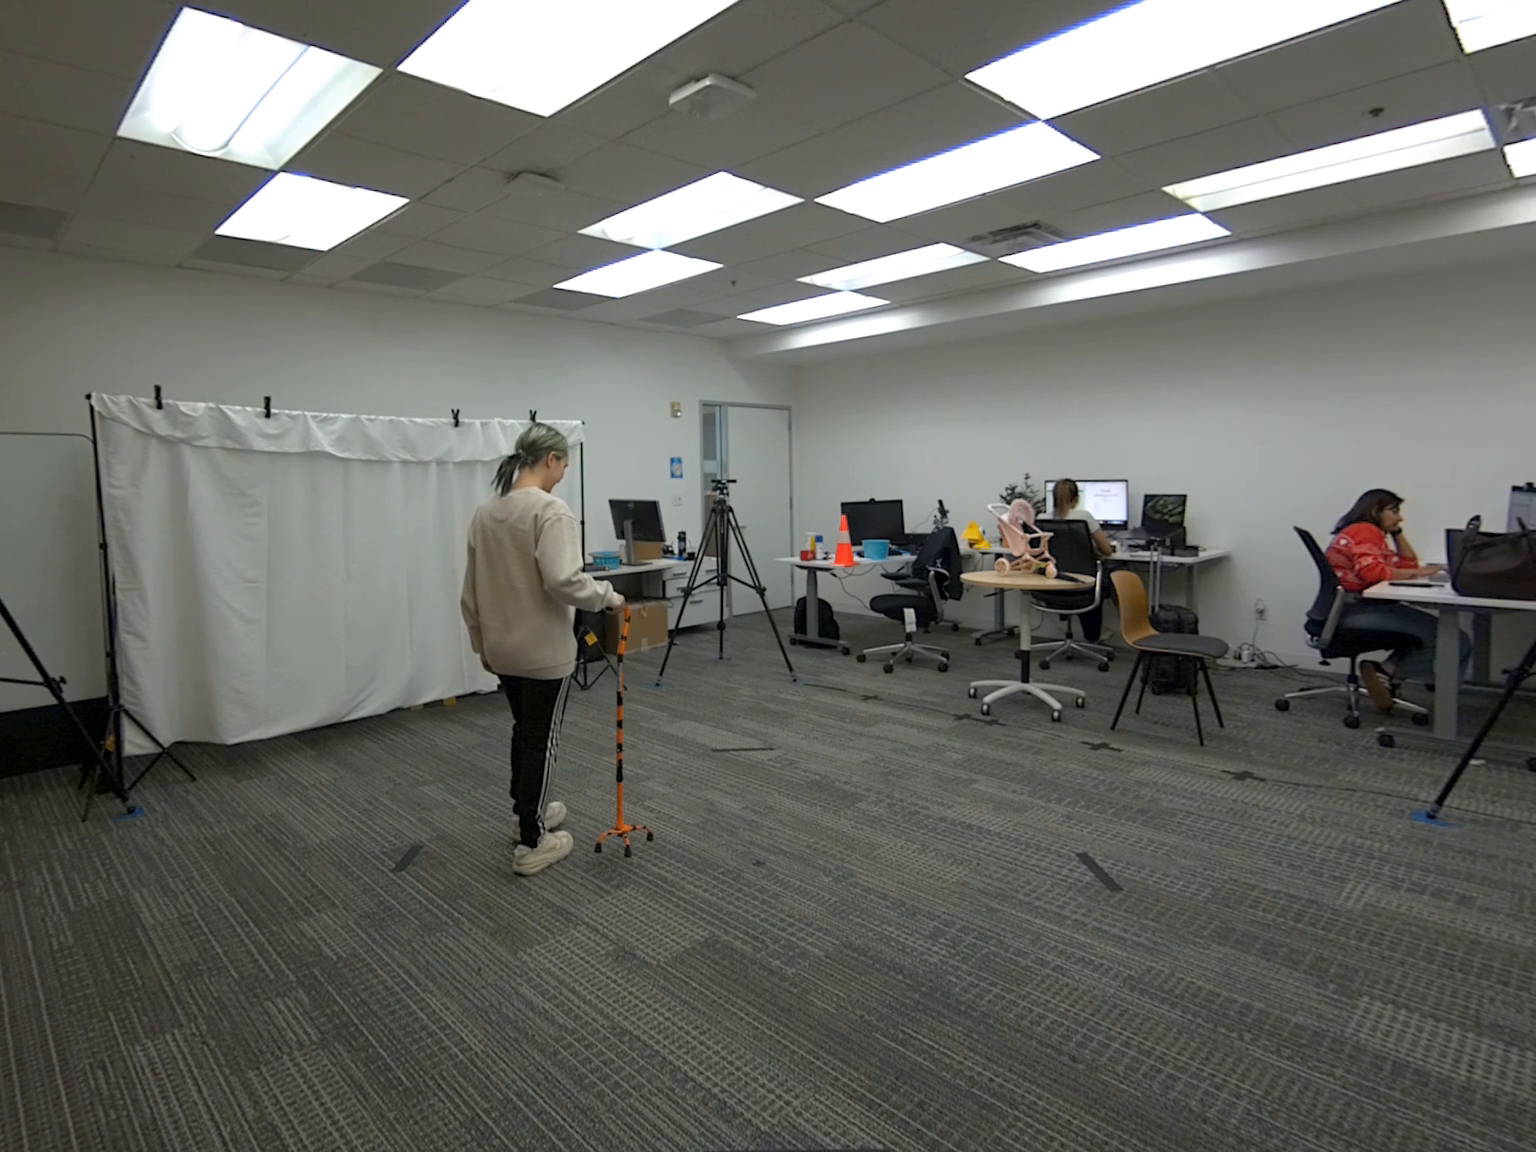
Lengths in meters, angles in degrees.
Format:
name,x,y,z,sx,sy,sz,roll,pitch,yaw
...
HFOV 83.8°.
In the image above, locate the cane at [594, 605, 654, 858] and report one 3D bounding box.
name,x,y,z,sx,sy,sz,roll,pitch,yaw
cane,-0.526,0.549,3.160,0.154,0.907,0.203,2,0,17
